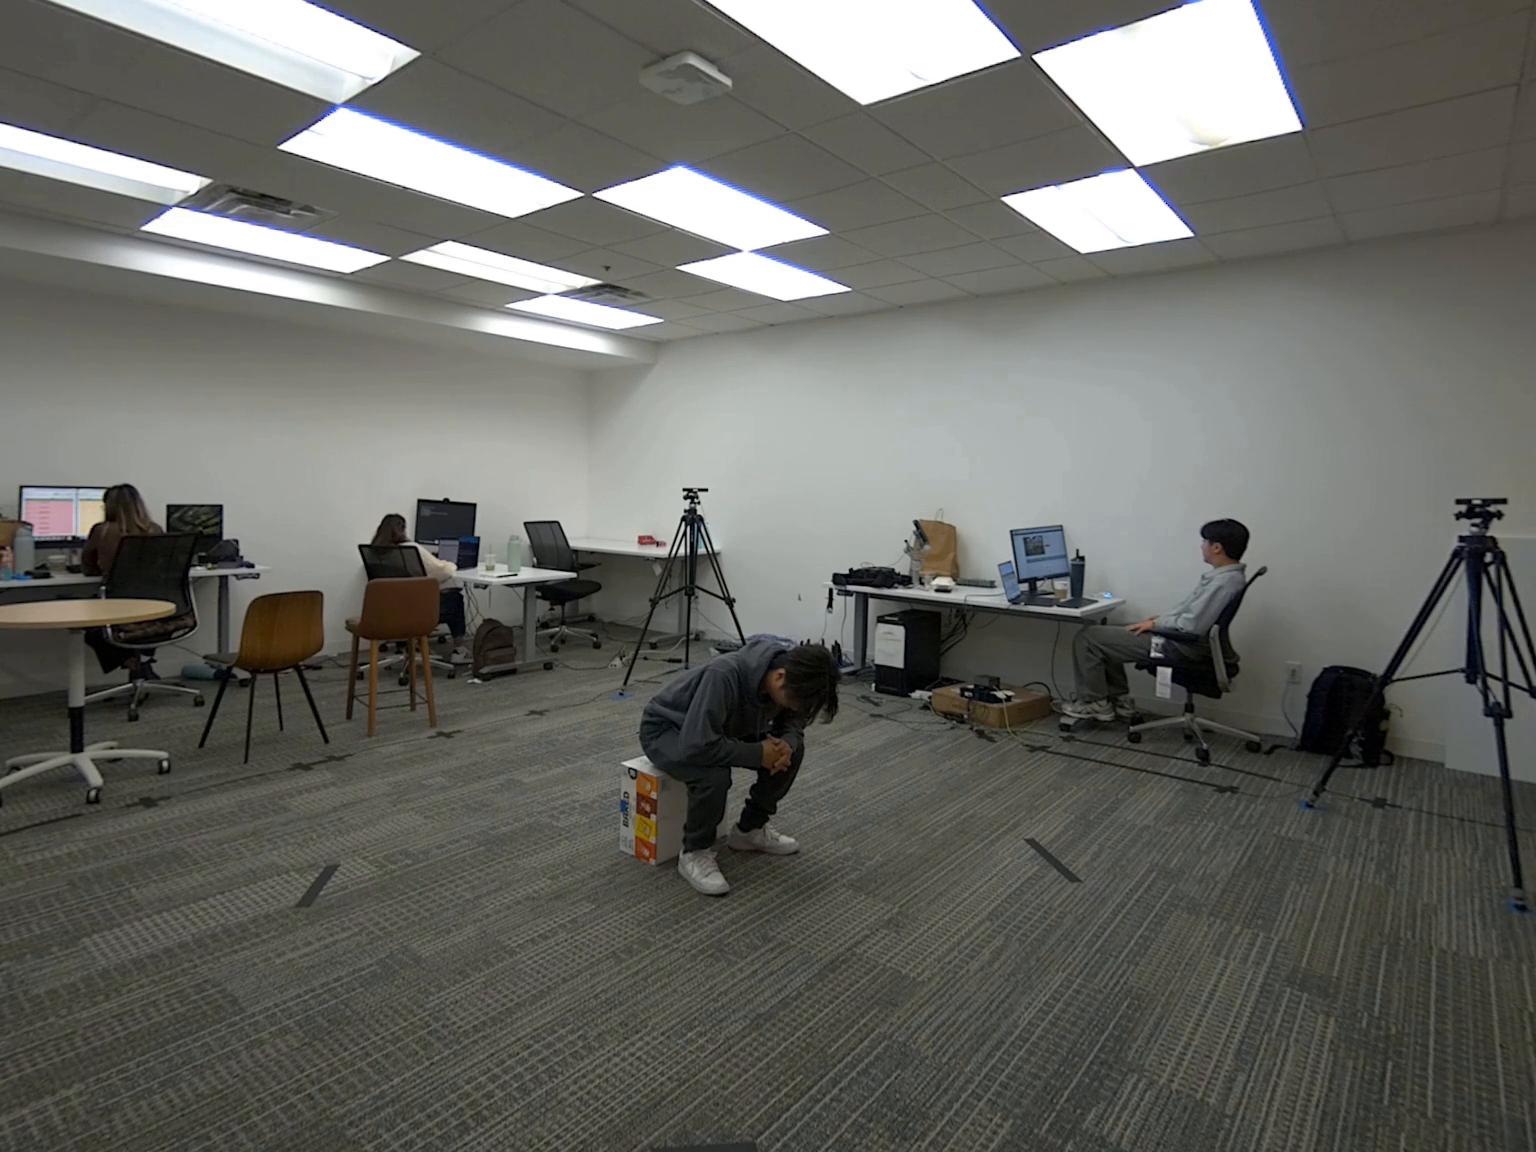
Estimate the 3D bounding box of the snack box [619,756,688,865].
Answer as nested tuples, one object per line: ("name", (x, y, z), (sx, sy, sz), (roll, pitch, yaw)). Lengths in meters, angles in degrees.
("snack box", (-0.373, 0.874, 3.334), (0.213, 0.339, 0.393), (6, 6, 40))
